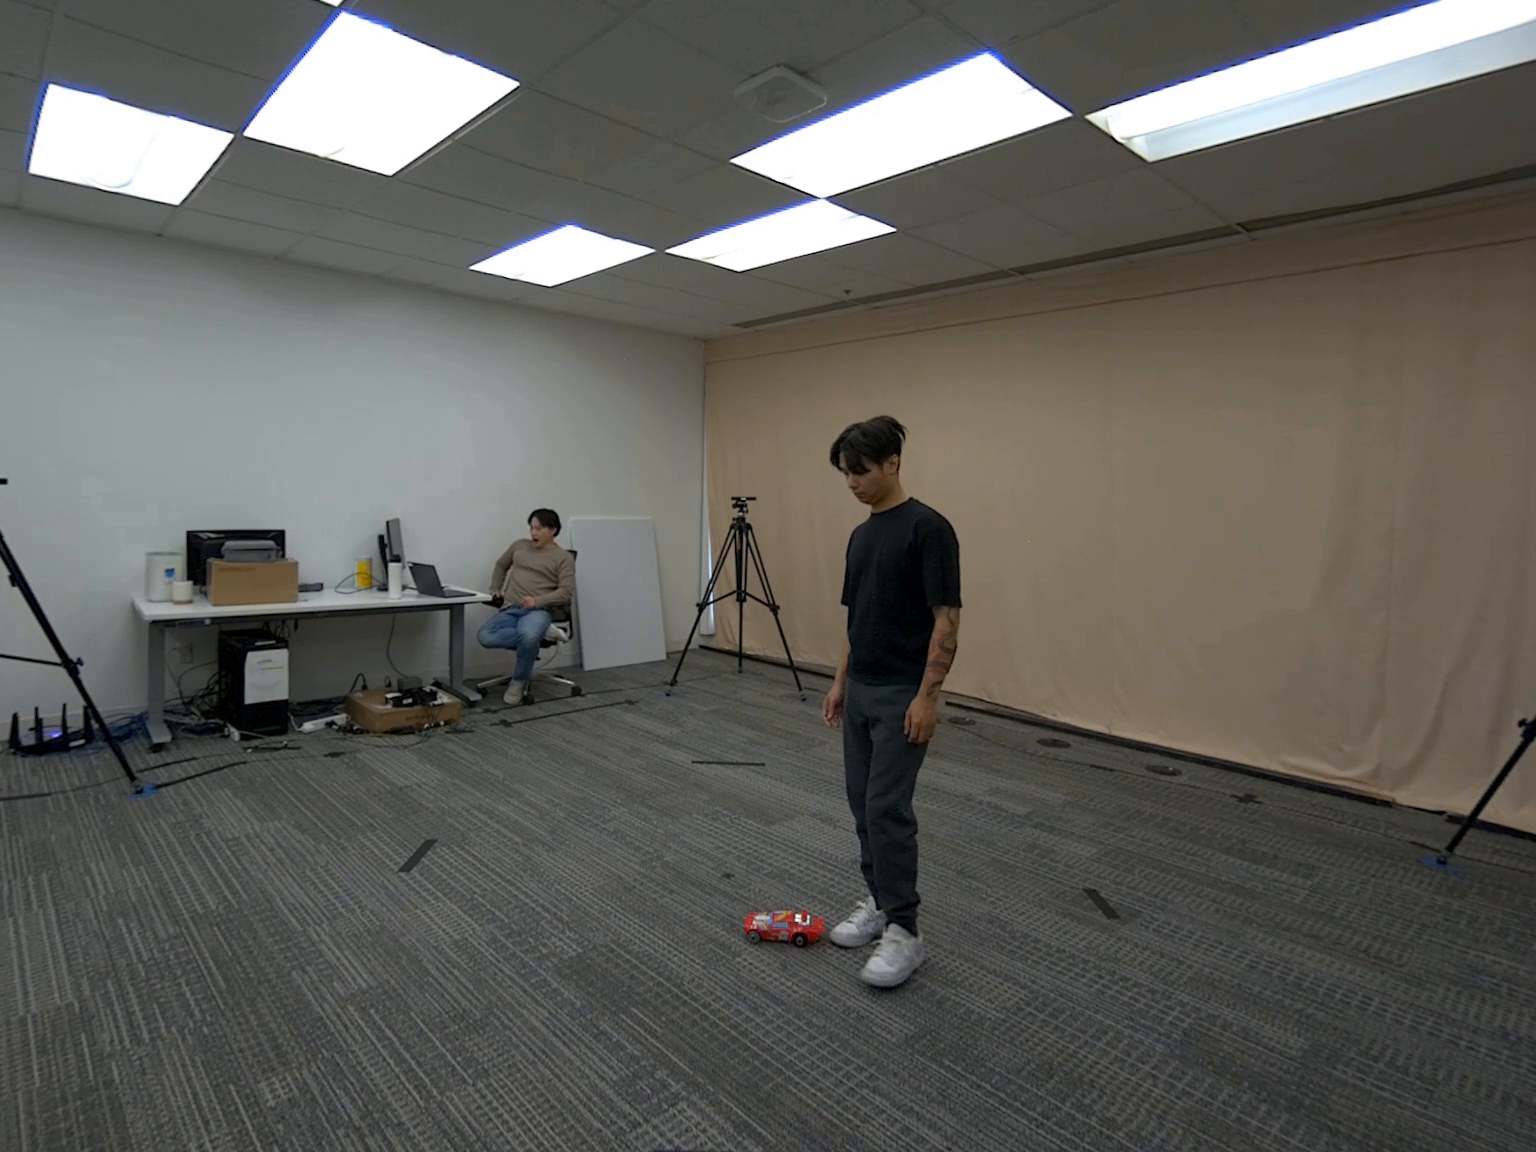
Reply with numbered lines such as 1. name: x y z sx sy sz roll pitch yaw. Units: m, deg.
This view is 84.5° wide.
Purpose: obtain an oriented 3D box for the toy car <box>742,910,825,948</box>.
1. toy car: 0.049 1.122 2.670 0.255 0.083 0.130 -10 5 6
